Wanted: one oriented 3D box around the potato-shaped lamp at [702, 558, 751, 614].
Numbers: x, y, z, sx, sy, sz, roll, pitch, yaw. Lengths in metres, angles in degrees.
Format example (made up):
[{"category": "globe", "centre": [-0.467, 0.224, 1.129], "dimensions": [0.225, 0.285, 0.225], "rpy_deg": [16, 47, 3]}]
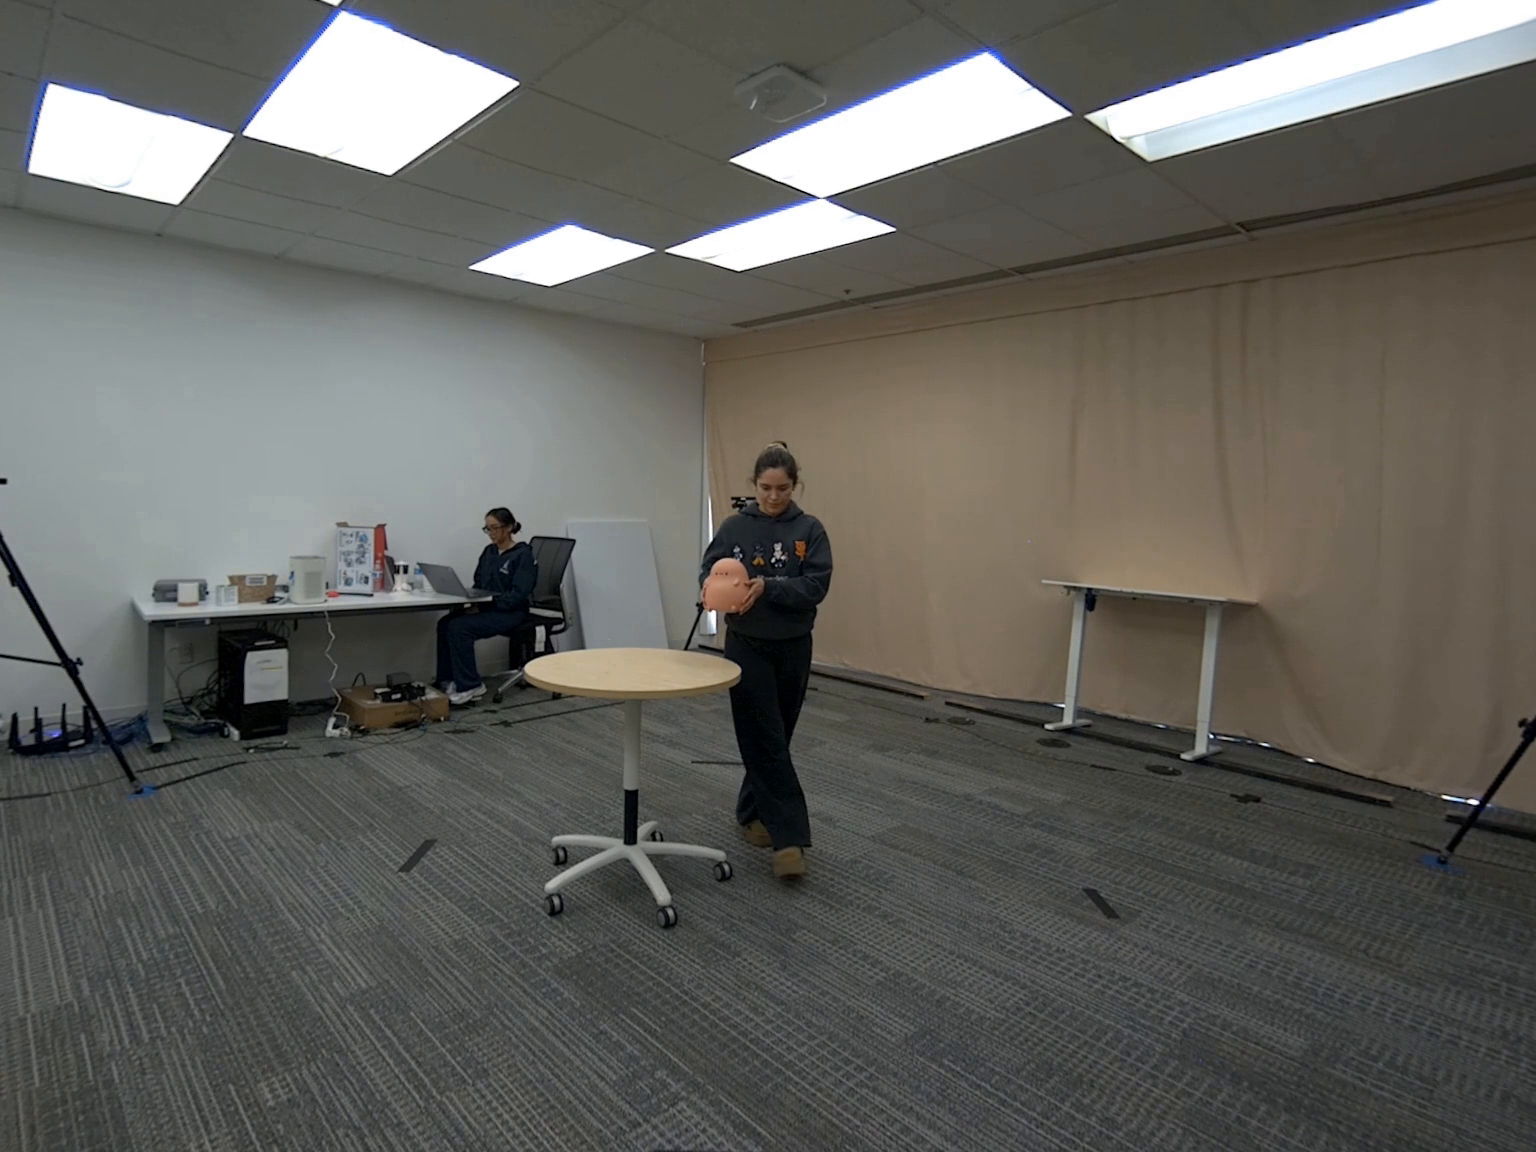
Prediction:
[{"category": "potato-shaped lamp", "centre": [-0.159, 0.033, 3.114], "dimensions": [0.168, 0.198, 0.168], "rpy_deg": [0, 2, 27]}]
